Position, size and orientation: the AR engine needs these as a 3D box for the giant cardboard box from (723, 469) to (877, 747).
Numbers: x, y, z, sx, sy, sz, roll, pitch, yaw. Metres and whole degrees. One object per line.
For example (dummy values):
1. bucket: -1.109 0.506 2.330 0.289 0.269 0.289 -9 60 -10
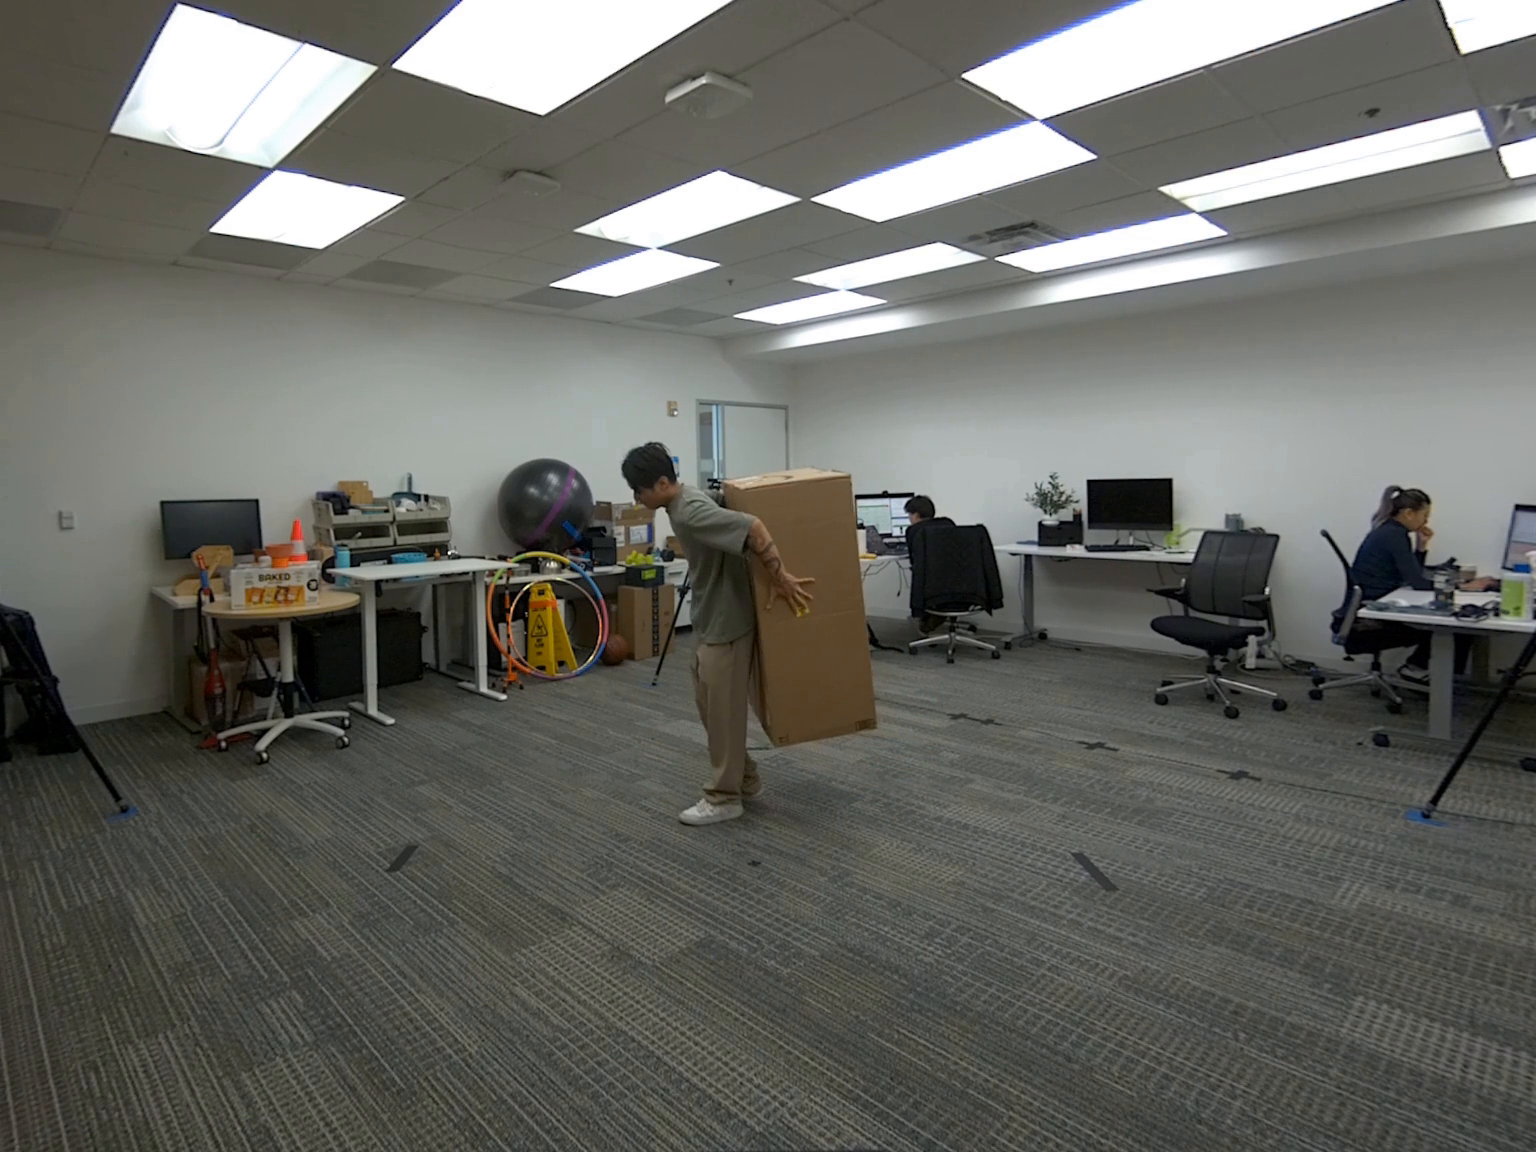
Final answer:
1. giant cardboard box: 0.118 0.096 3.567 0.423 1.017 0.586 -8 9 -8
